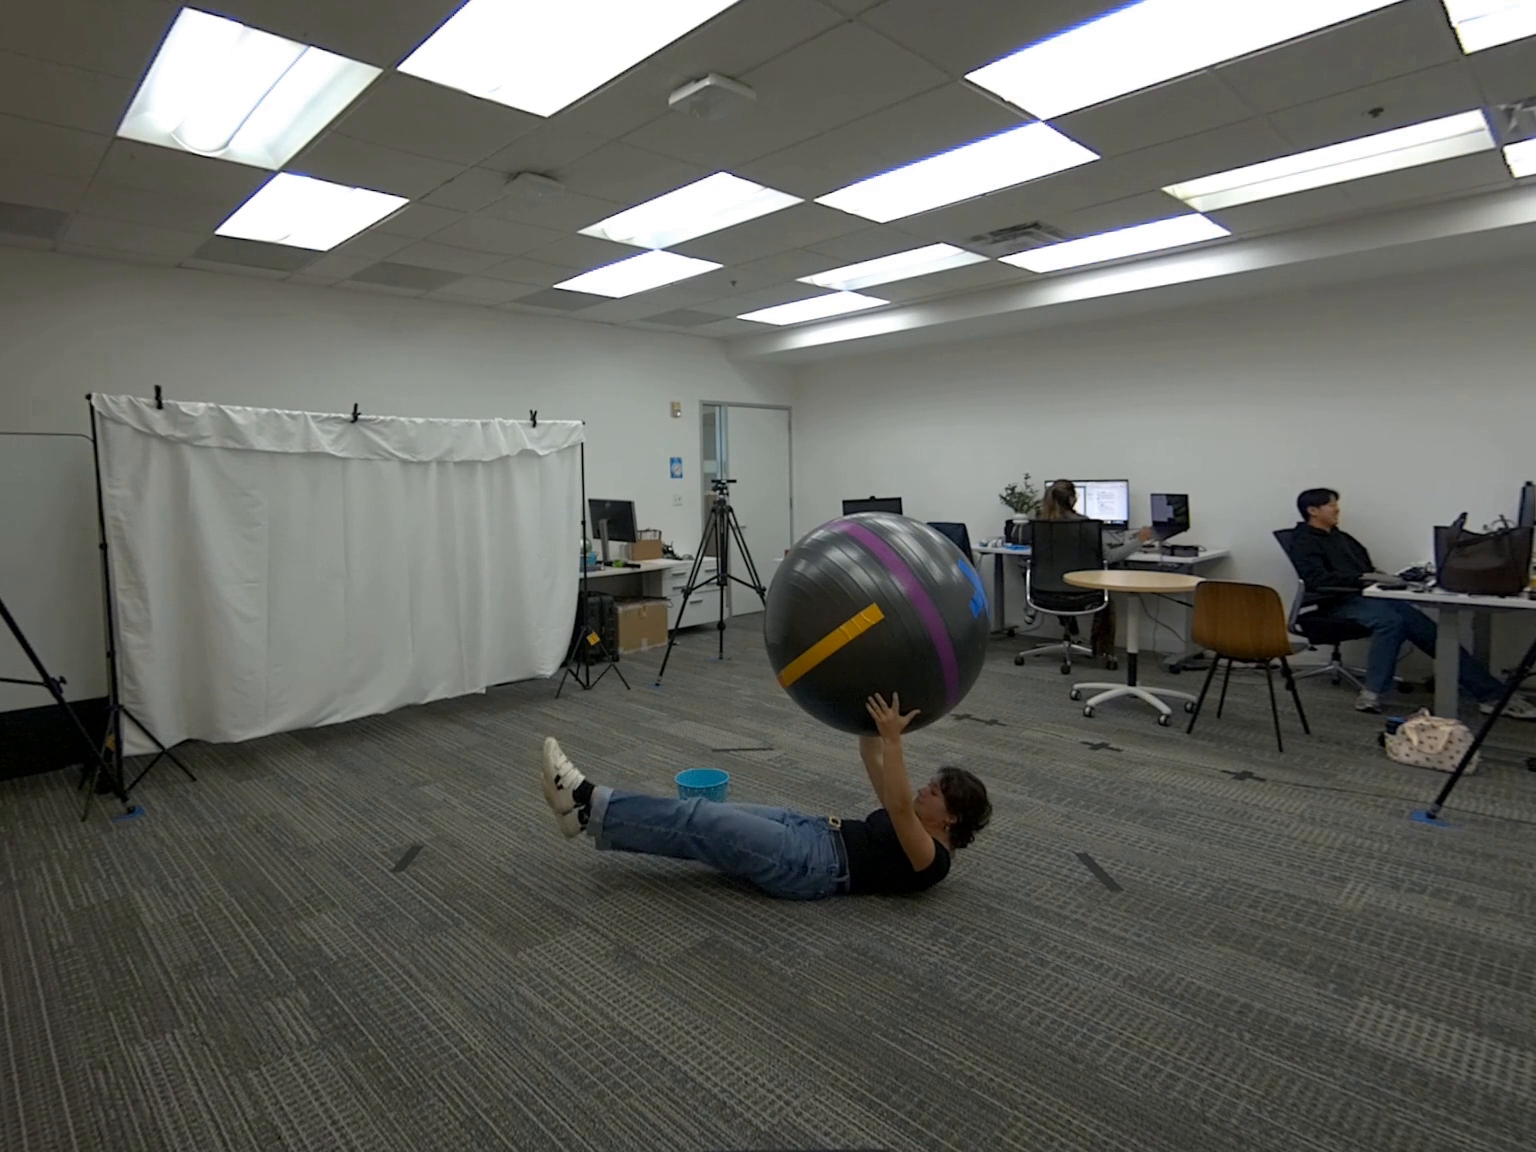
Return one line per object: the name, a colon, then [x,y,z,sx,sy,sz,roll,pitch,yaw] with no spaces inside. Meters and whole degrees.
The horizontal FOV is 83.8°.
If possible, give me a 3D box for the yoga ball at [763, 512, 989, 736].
yoga ball: [0.362,0.163,2.916,0.757,0.755,0.762,-1,5,-2]
